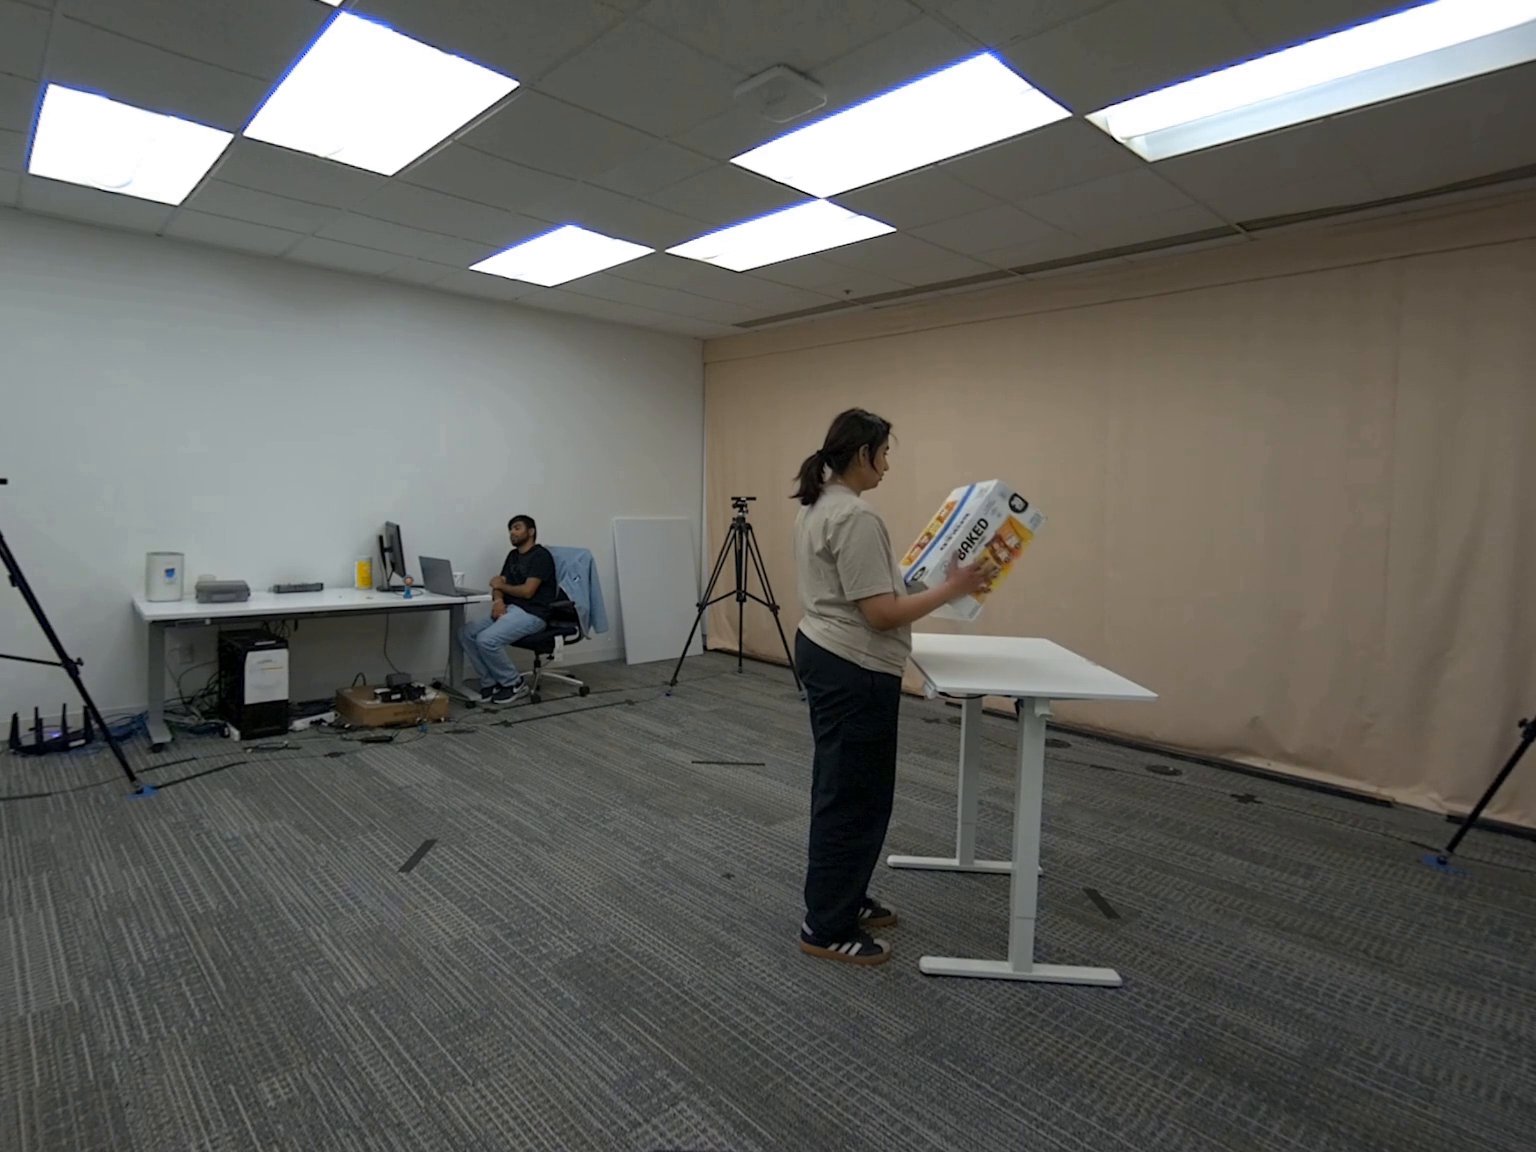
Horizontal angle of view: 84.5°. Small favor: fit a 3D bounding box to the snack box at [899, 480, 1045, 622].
[{"bbox_3d":[0.630,-0.073,2.721,0.204,0.405,0.343,38,-7,-8],"label":"snack box"}]
